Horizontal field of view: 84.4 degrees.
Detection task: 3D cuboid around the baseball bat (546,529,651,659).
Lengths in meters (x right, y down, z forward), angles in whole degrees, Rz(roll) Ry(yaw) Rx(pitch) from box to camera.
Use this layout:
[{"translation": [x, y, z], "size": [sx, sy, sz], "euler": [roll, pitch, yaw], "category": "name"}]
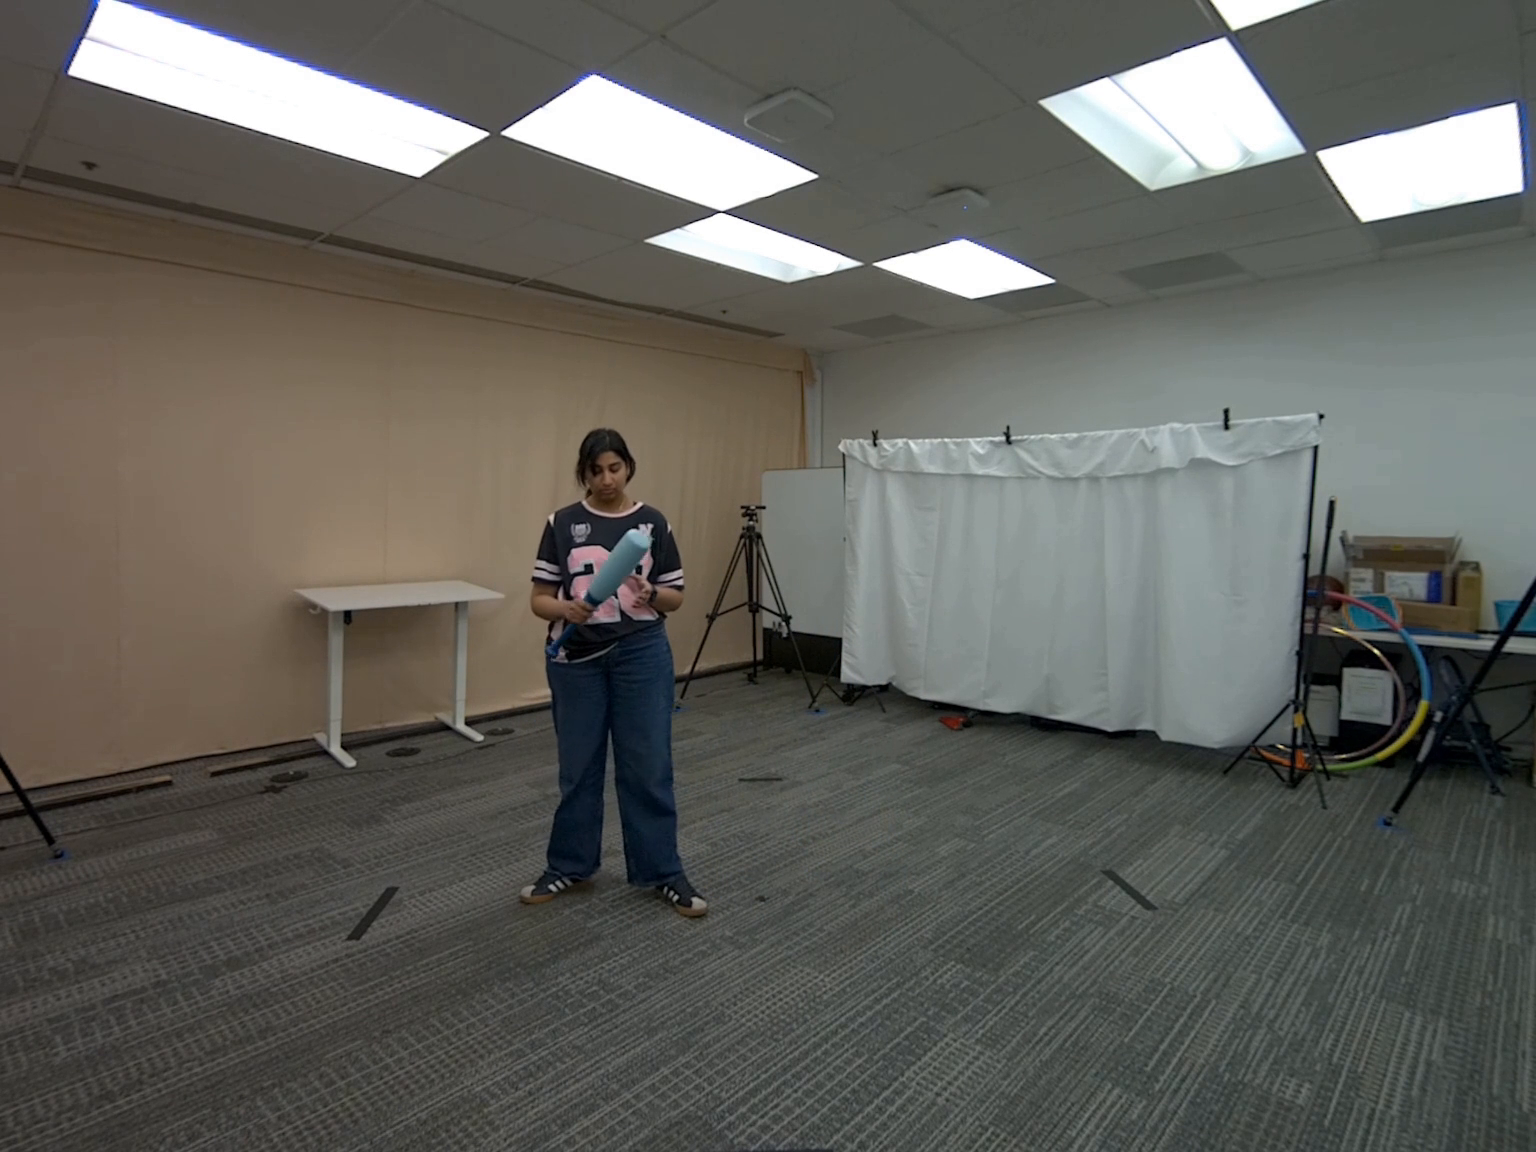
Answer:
[{"translation": [-0.549, 0.074, 2.652], "size": [0.087, 0.545, 0.090], "euler": [33, 24, -19], "category": "baseball bat"}]
